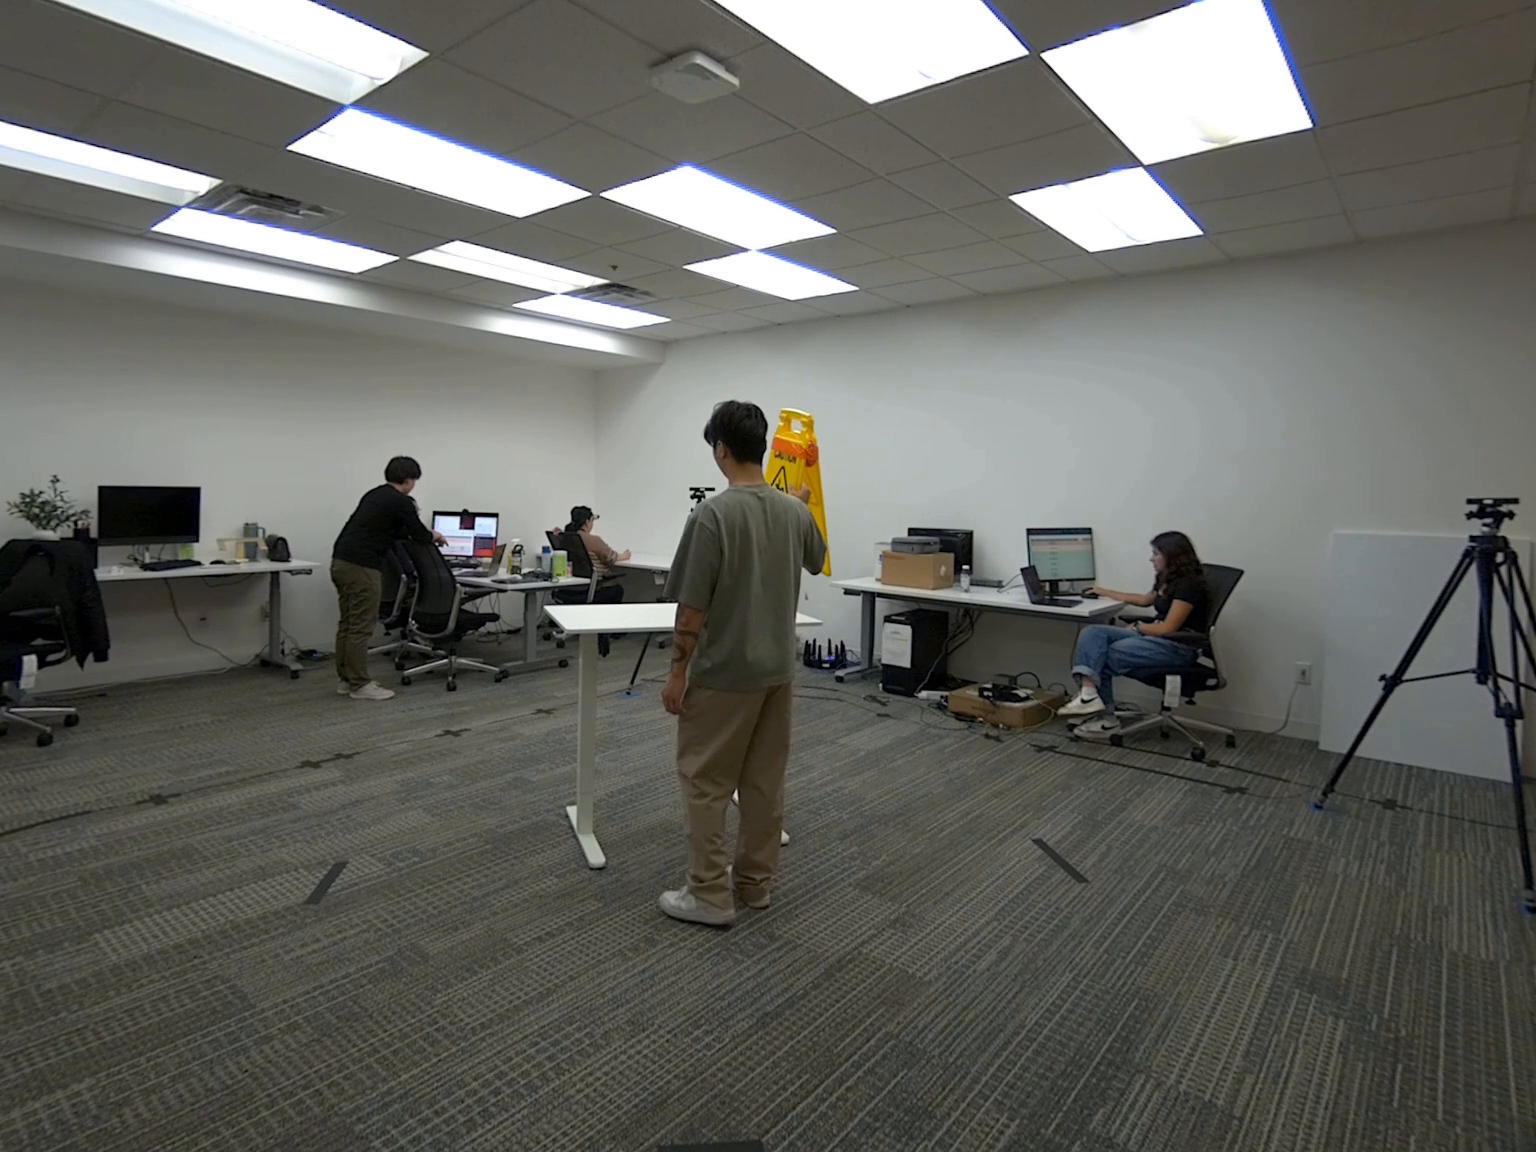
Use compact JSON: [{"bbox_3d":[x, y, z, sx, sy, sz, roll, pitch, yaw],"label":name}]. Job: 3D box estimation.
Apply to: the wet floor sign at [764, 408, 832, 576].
[{"bbox_3d":[0.087,-0.335,3.373,0.283,0.637,0.293,-7,19,-31],"label":"wet floor sign"}]
